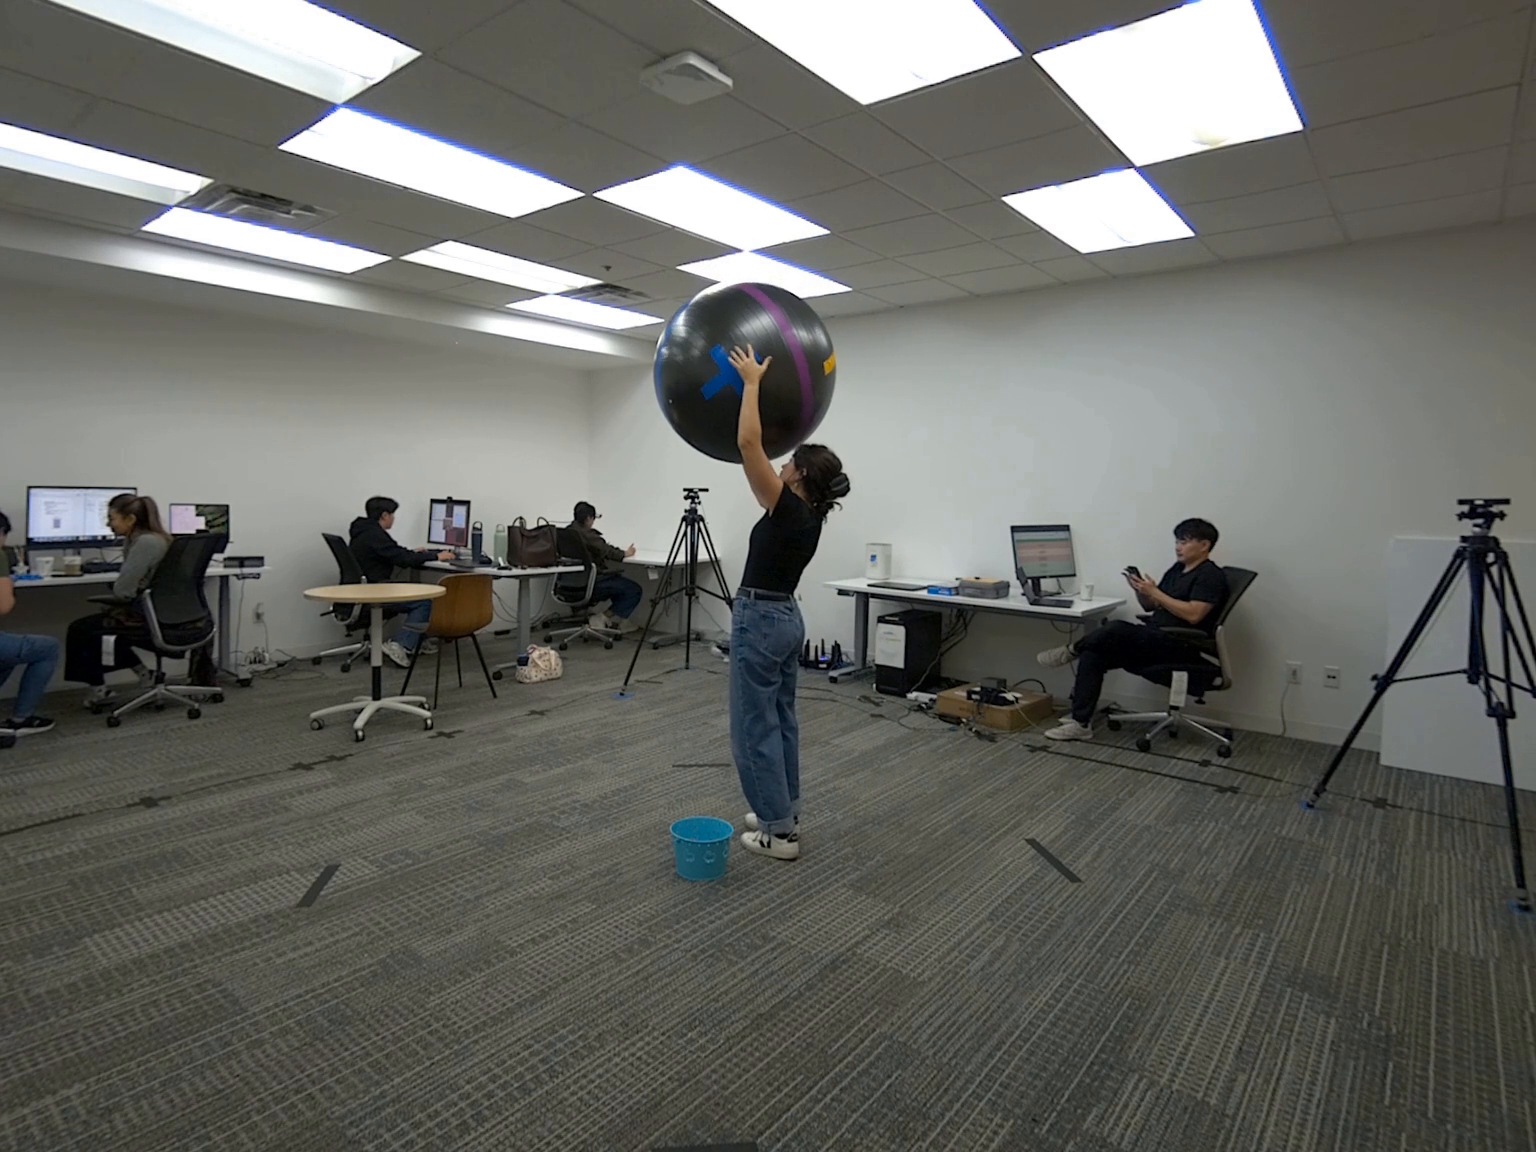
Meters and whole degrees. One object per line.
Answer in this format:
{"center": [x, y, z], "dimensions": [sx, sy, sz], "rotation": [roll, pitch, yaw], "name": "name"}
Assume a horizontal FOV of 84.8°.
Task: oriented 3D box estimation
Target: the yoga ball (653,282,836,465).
{"center": [-0.101, -0.848, 3.541], "dimensions": [0.757, 0.756, 0.762], "rotation": [1, 4, -2], "name": "yoga ball"}
